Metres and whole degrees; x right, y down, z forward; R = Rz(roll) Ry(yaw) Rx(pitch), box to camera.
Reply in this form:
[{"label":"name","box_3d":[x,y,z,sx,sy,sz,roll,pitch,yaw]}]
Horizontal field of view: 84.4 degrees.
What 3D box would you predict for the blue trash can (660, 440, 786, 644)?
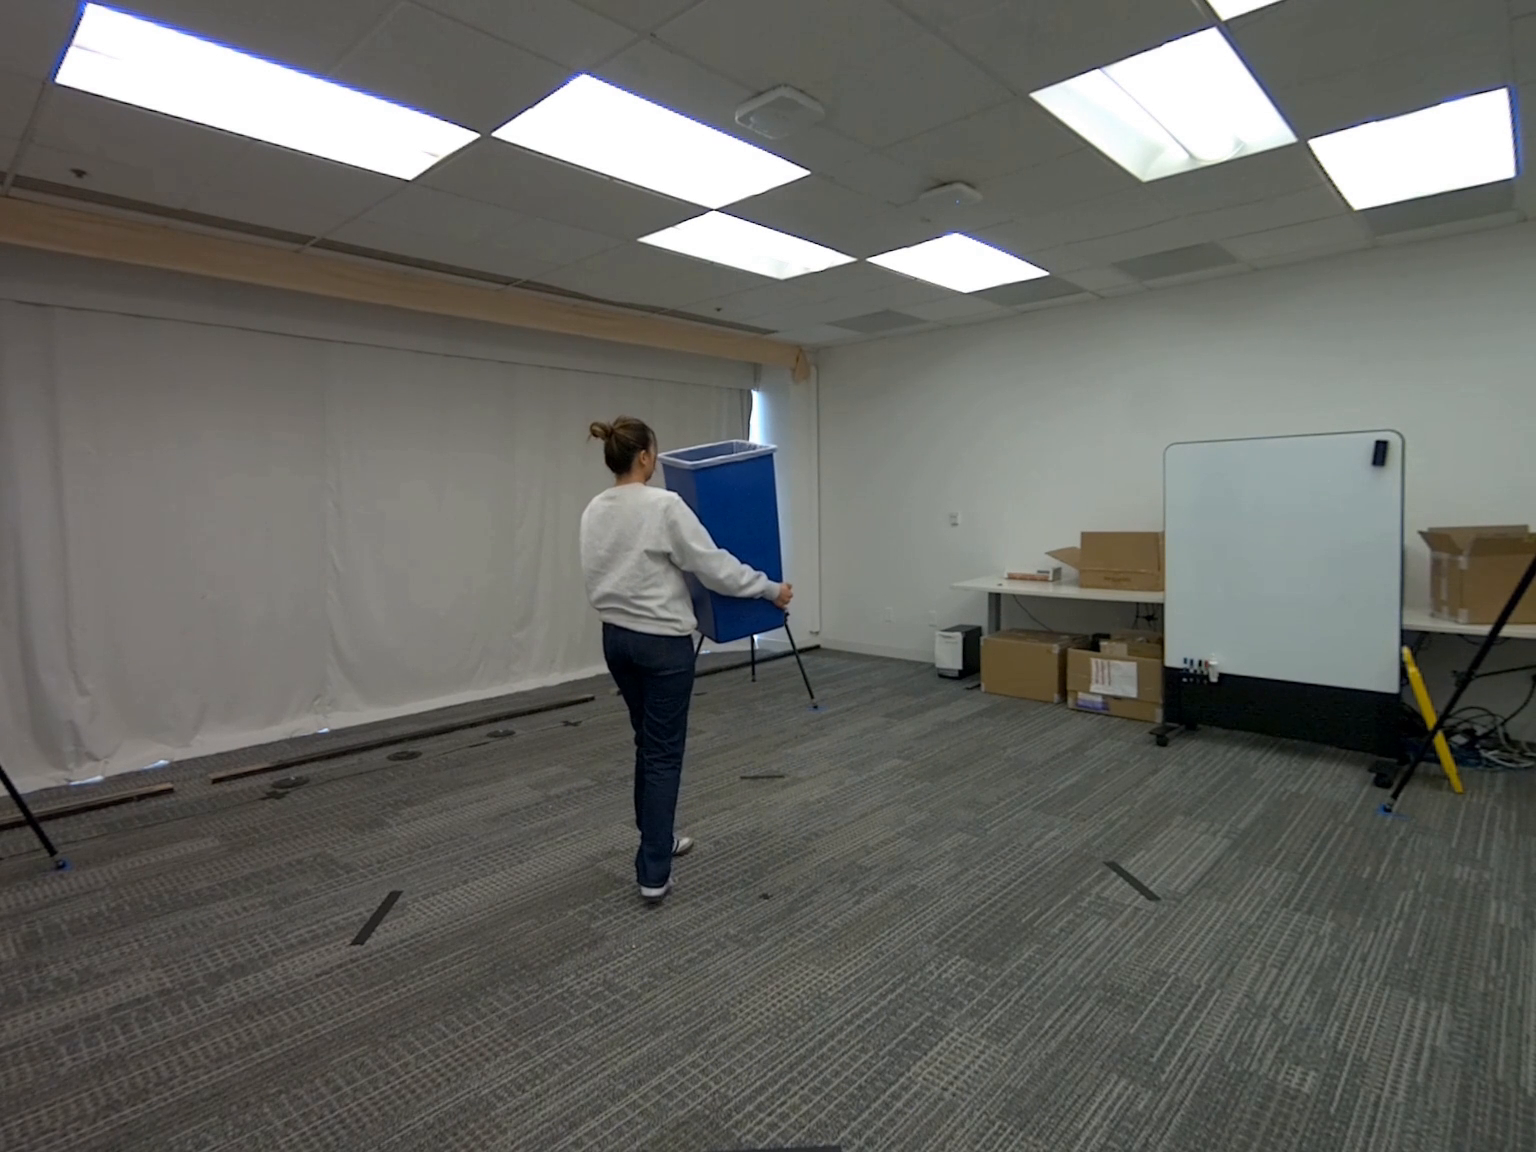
[{"label":"blue trash can","box_3d":[-0.168,-0.144,3.296,0.367,0.706,0.390,-13,16,-24]}]
